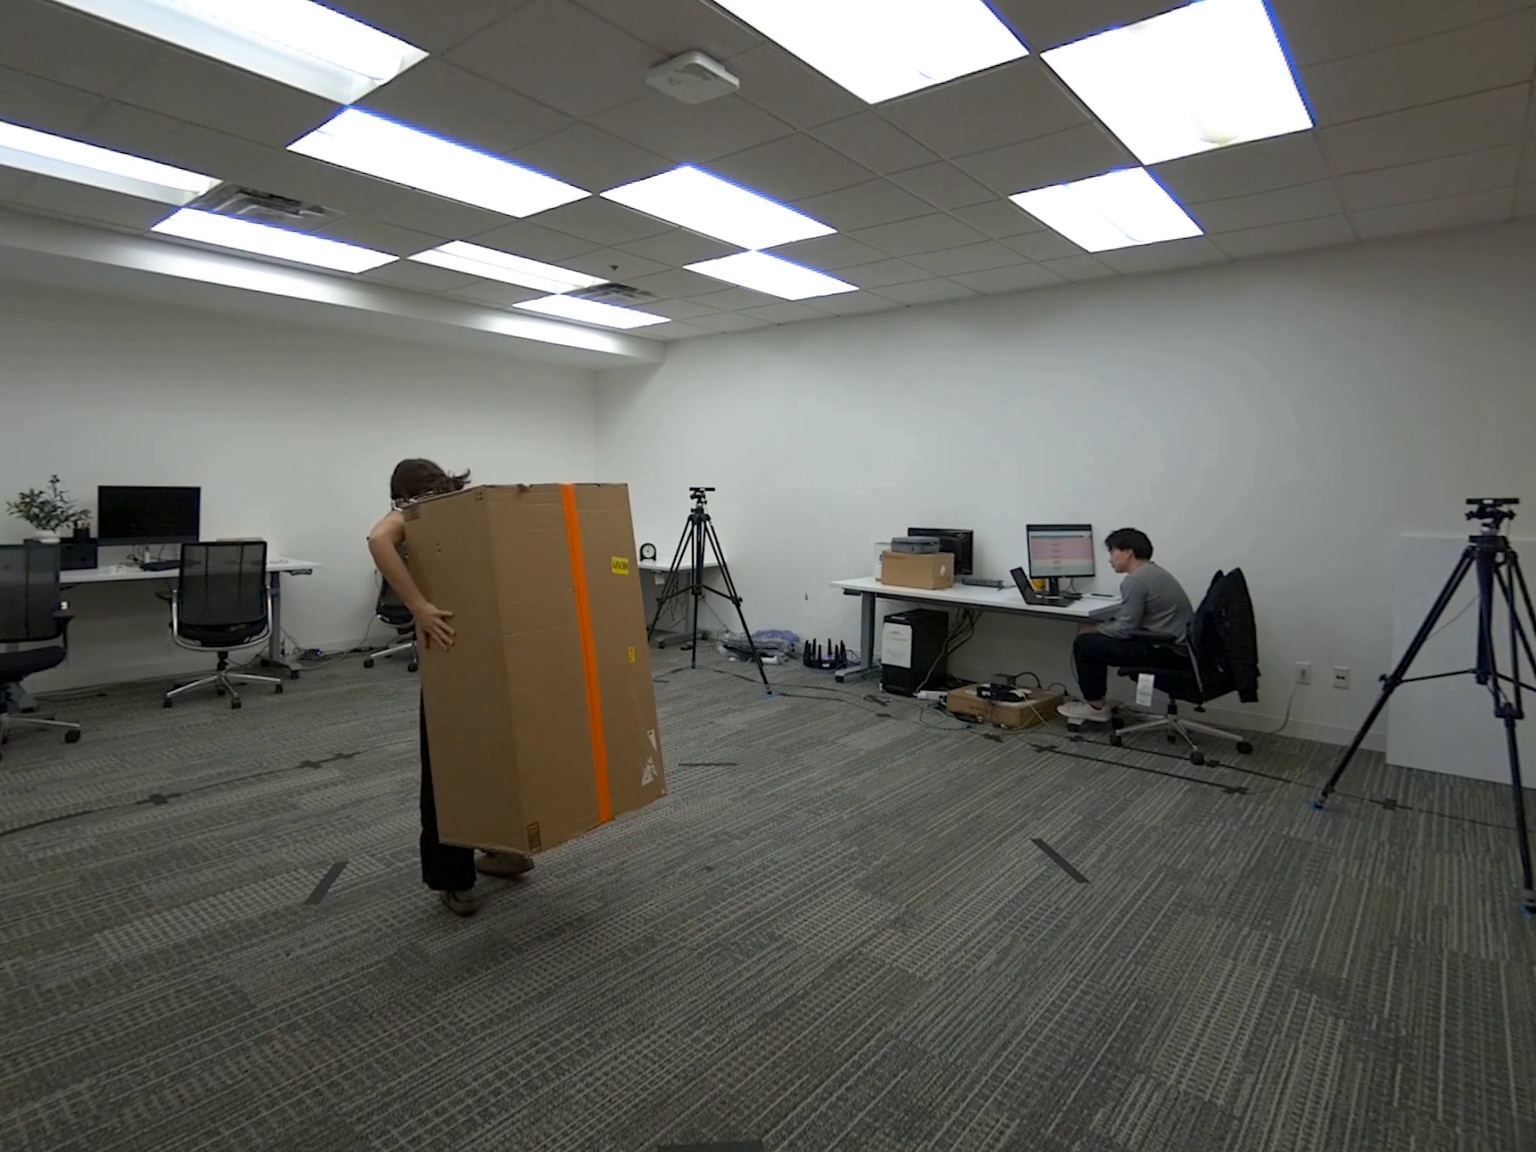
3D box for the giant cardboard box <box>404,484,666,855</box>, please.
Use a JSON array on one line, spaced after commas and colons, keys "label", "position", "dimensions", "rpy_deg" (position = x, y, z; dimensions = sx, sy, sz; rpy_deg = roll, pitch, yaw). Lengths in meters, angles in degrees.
[{"label": "giant cardboard box", "position": [-0.726, 0.250, 2.661], "dimensions": [0.437, 1.028, 0.561], "rpy_deg": [-8, -2, 36]}]
